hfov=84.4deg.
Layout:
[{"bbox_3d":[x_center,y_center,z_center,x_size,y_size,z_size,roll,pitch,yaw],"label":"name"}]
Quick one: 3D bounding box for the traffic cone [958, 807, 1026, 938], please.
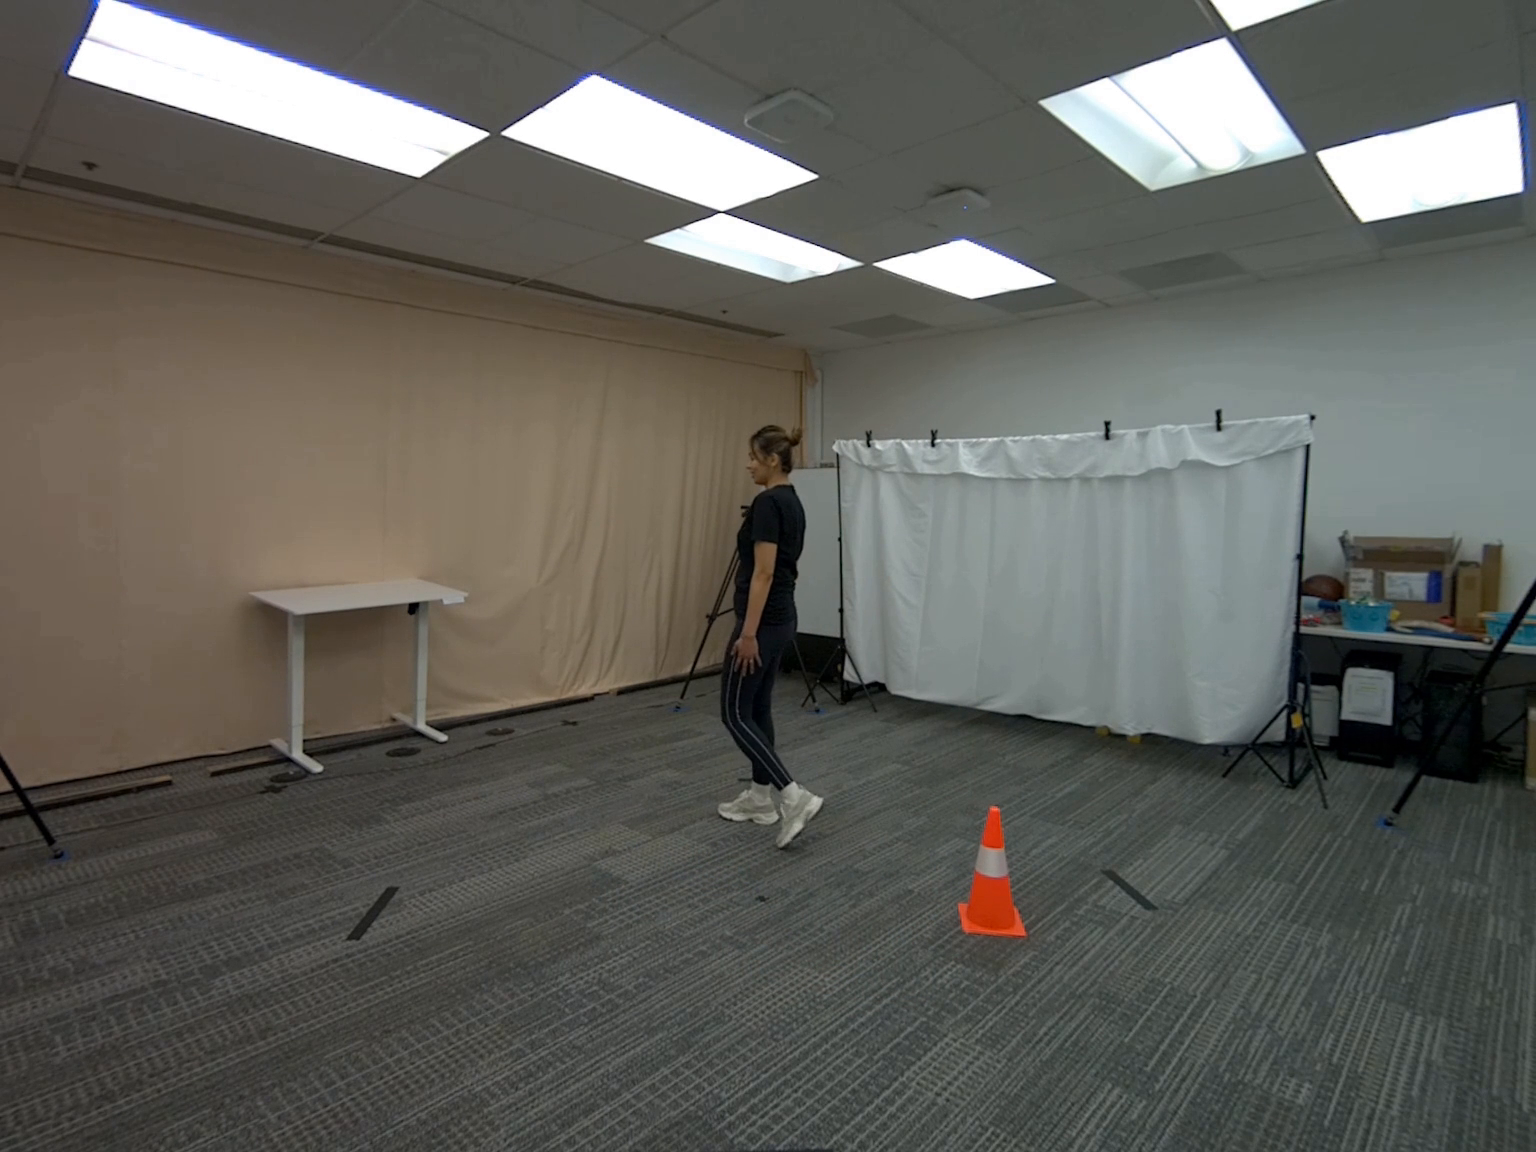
[{"bbox_3d":[0.755,0.971,2.815,0.208,0.383,0.201,1,3,12],"label":"traffic cone"}]
